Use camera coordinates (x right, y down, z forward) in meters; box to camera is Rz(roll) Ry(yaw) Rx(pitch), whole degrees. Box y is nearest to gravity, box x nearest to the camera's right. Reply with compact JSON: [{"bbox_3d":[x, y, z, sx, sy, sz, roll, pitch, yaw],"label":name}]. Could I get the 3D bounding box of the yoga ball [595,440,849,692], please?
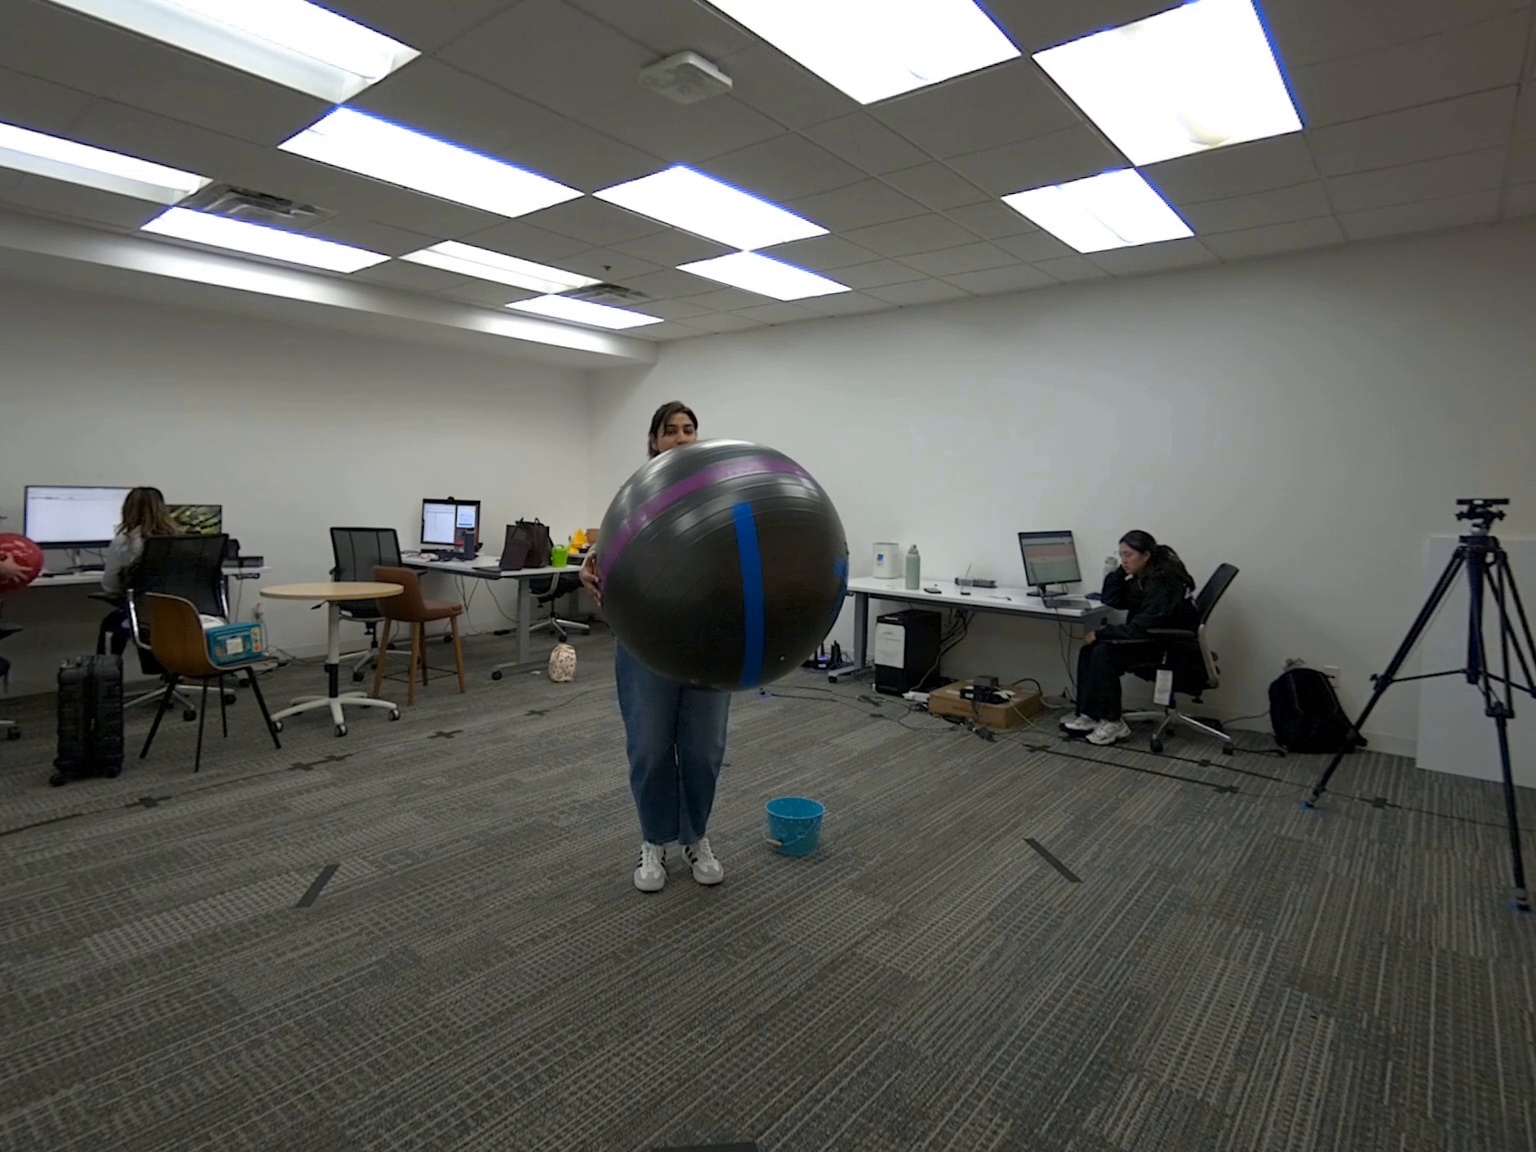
[{"bbox_3d":[-0.144,-0.027,2.553,0.757,0.756,0.762,1,4,-2],"label":"yoga ball"}]
